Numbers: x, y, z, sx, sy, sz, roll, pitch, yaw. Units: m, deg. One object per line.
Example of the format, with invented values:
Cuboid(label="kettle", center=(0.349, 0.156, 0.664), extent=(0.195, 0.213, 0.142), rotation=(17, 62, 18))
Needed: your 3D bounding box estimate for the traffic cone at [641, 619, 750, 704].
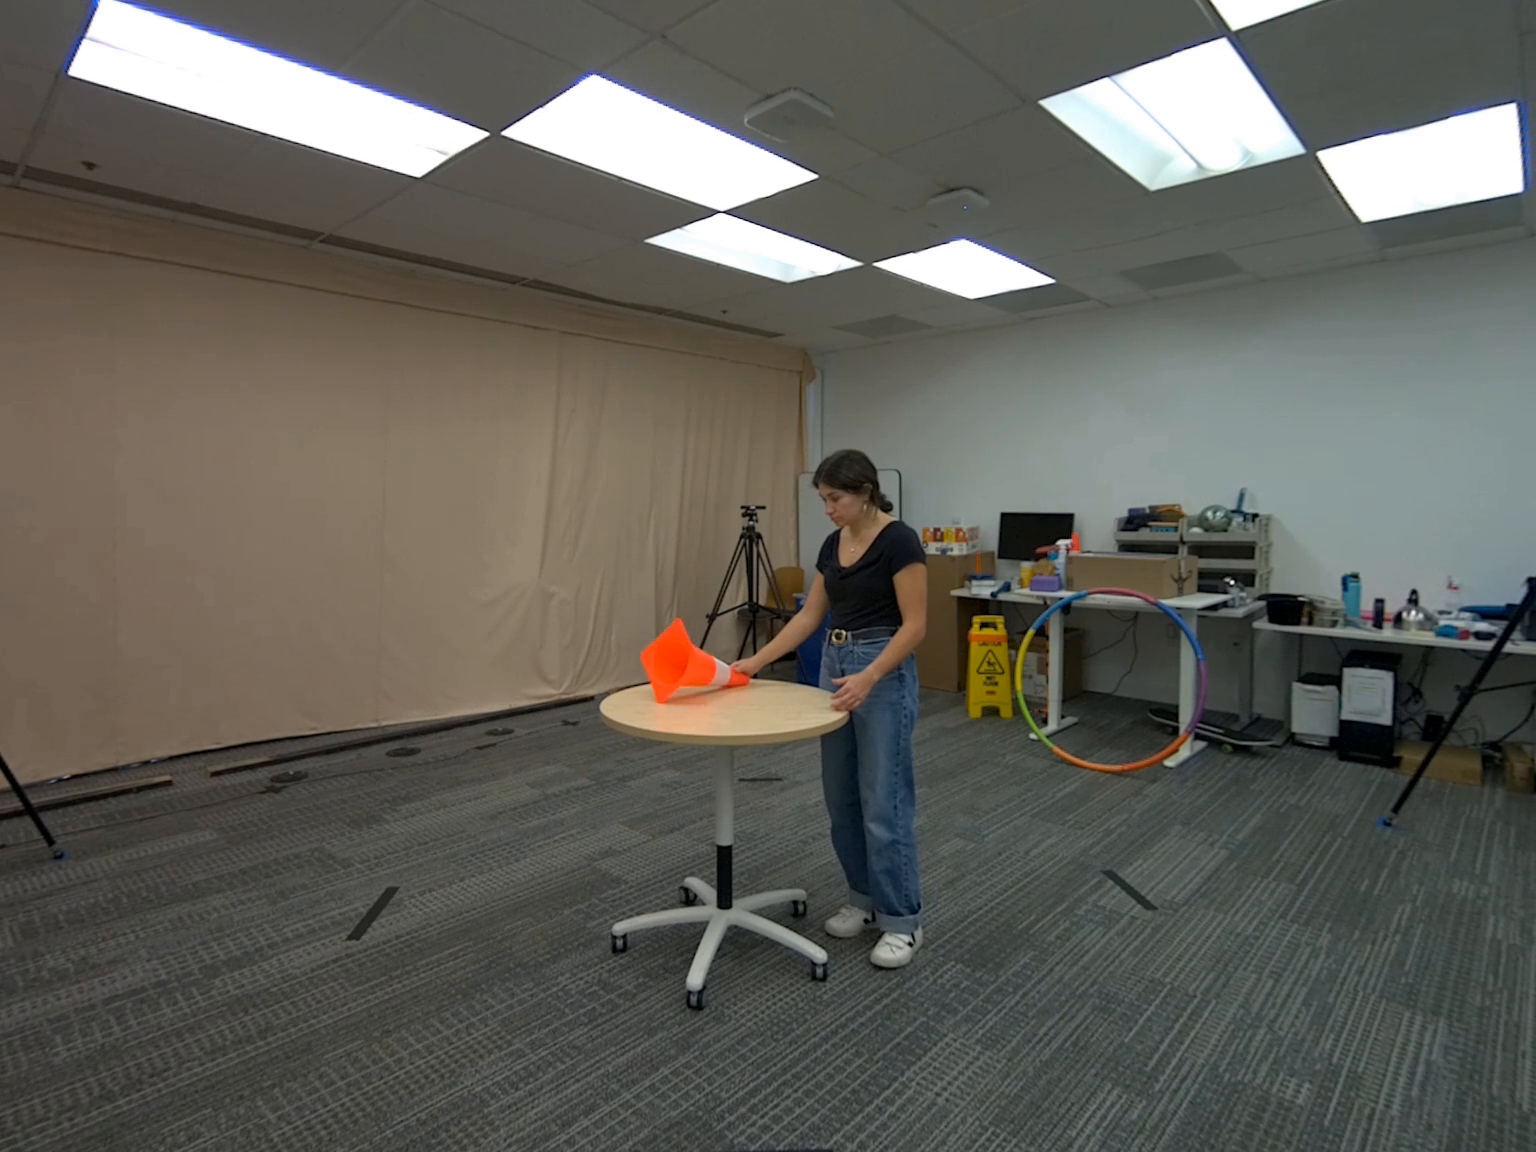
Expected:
Cuboid(label="traffic cone", center=(-0.182, 0.321, 2.744), extent=(0.205, 0.211, 0.370), rotation=(-43, -41, 22))
